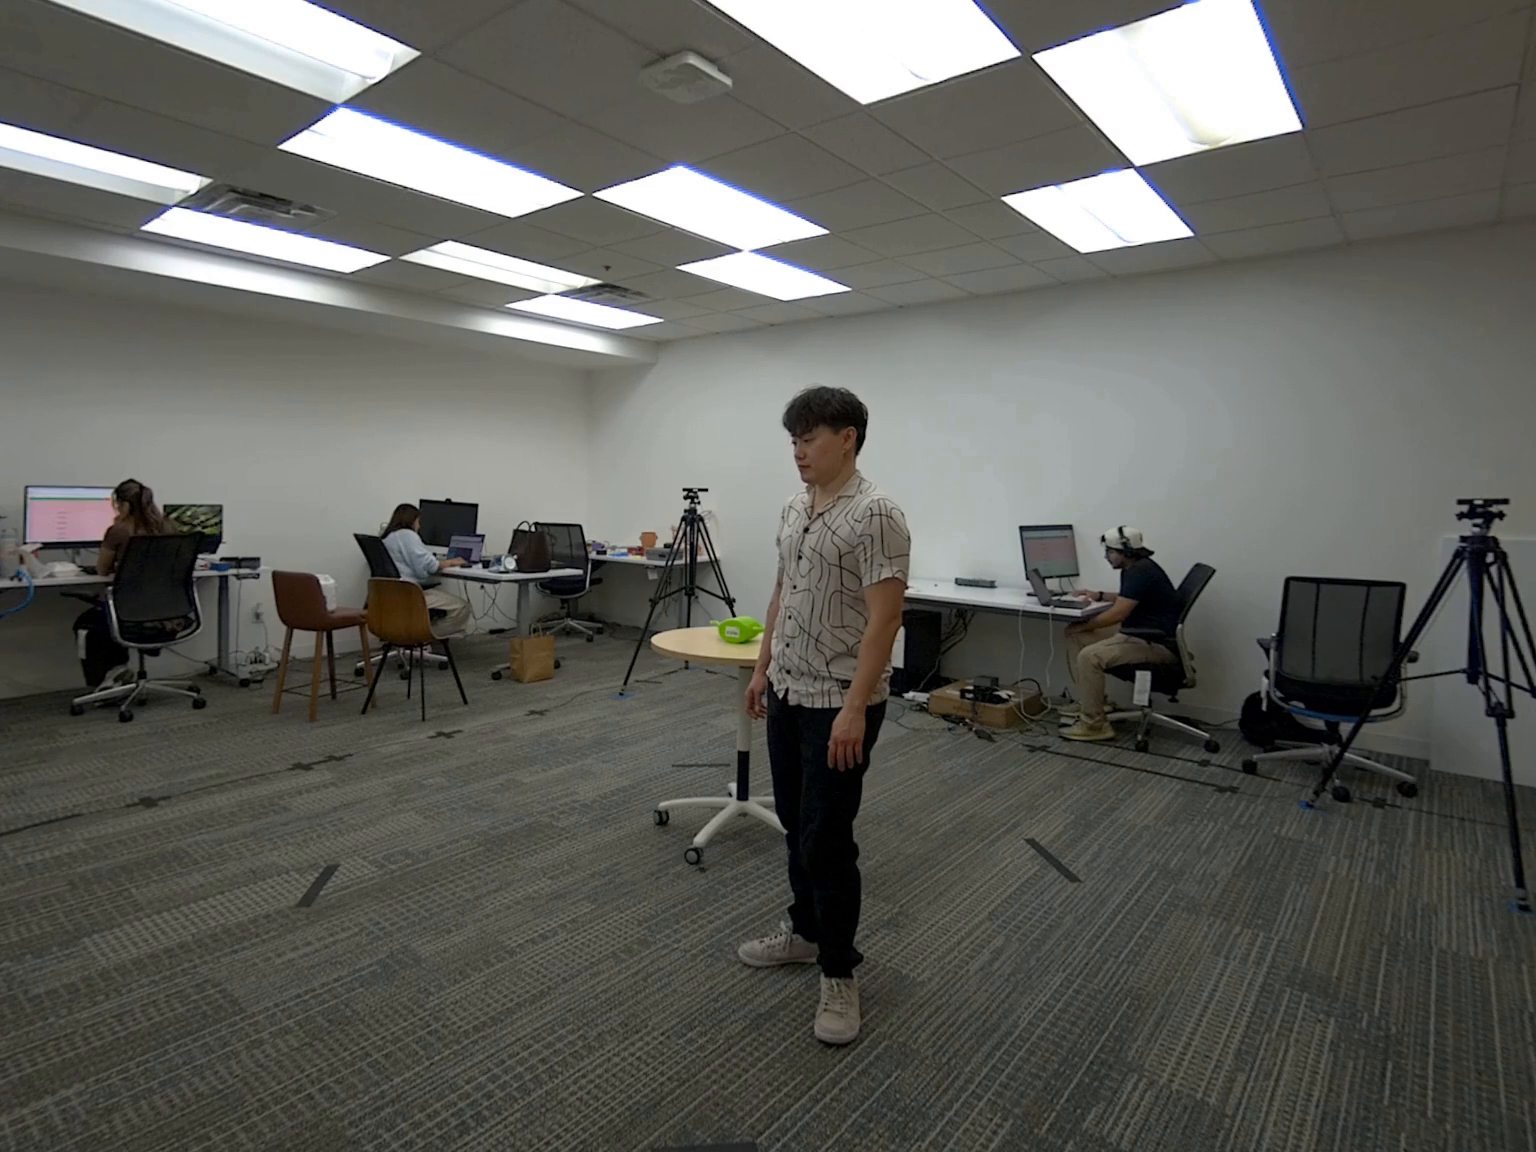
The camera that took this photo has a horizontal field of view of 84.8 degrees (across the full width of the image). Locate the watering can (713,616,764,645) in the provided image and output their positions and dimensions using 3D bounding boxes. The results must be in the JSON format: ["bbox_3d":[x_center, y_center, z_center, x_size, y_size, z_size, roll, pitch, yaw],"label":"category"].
[{"bbox_3d":[-0.153,0.215,3.442,0.284,0.098,0.172,-10,-2,27],"label":"watering can"}]
